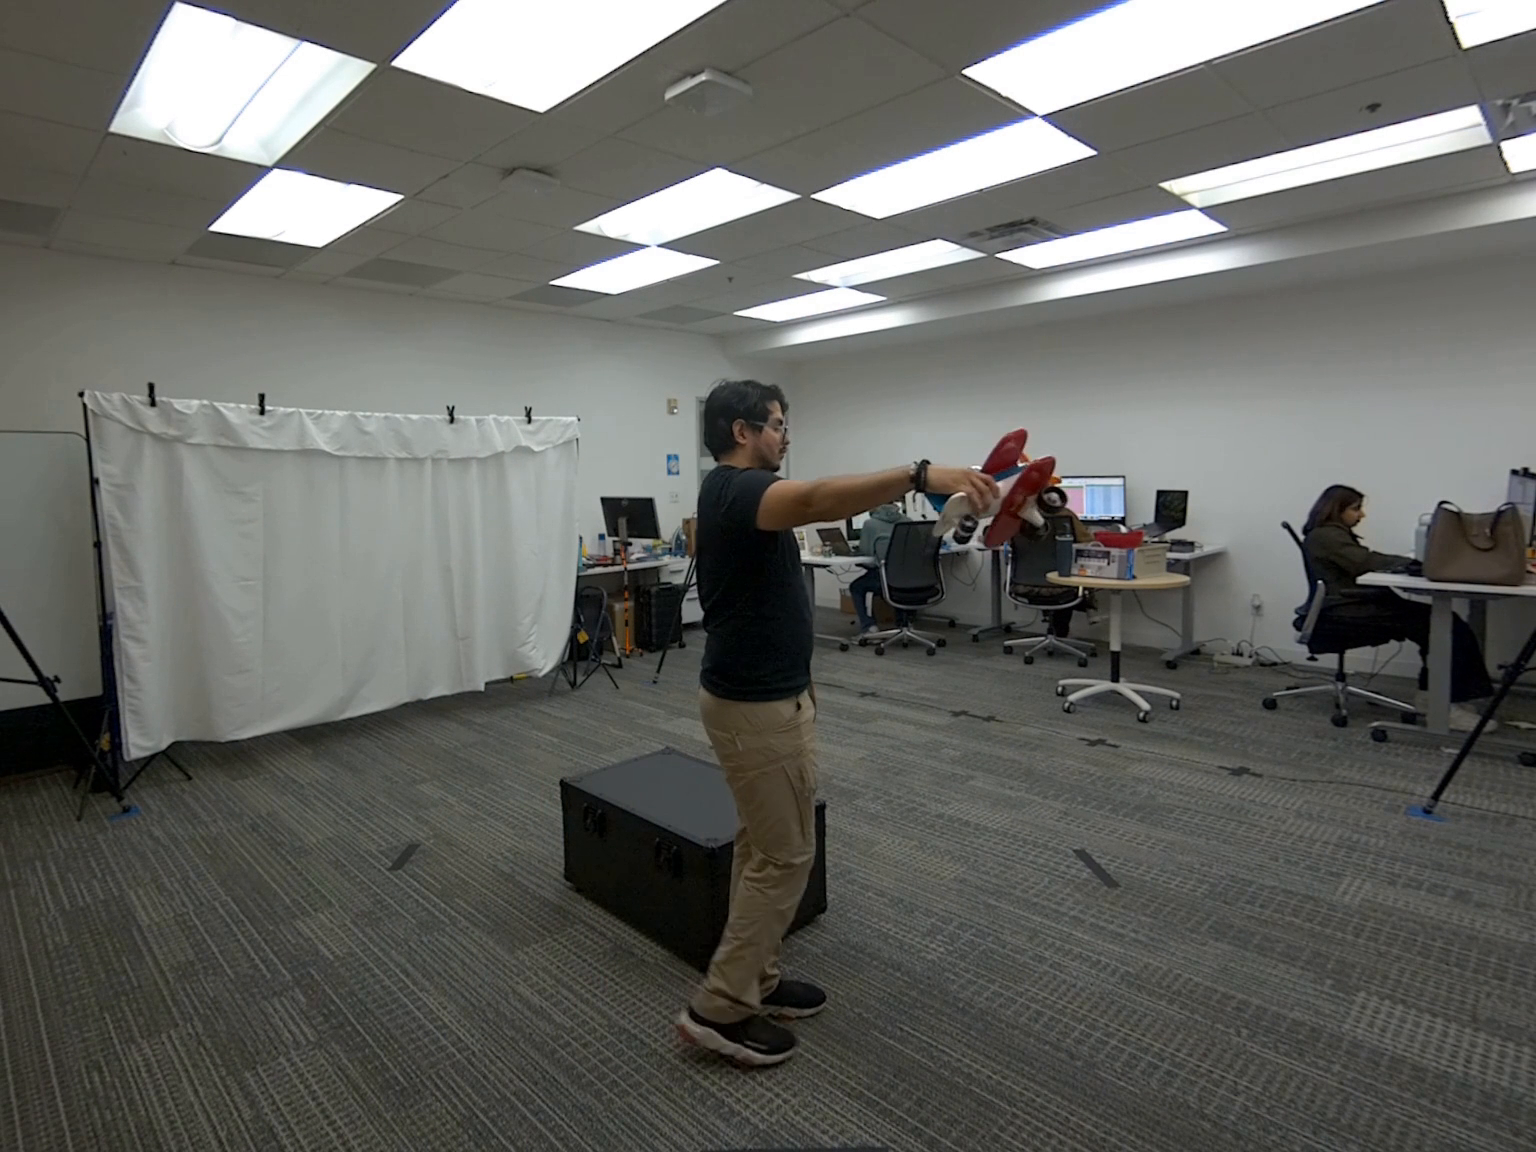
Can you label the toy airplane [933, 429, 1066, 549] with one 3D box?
[{"bbox_3d":[0.449,-0.158,1.651,0.251,0.162,0.251,13,-46,-39],"label":"toy airplane"}]
